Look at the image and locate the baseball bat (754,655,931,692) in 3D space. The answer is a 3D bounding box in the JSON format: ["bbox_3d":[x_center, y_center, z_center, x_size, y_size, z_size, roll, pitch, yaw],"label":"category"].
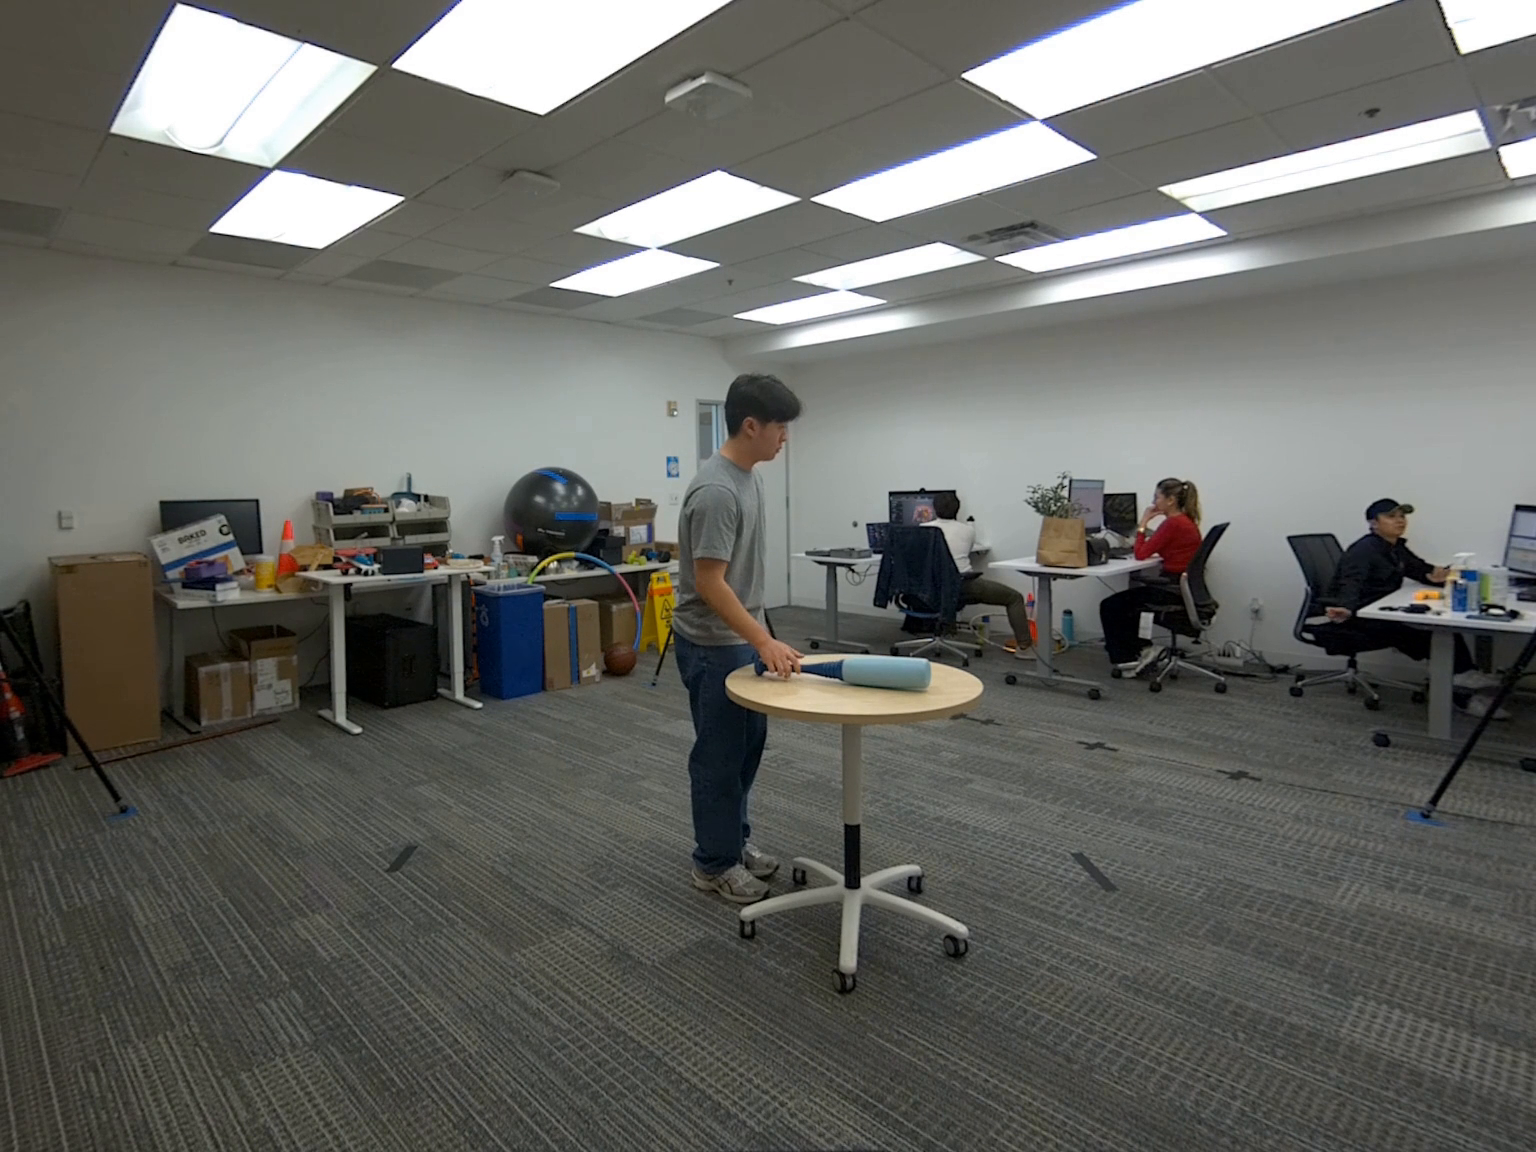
[{"bbox_3d":[0.222,0.288,2.553,0.554,0.089,0.087,-2,4,24],"label":"baseball bat"}]
